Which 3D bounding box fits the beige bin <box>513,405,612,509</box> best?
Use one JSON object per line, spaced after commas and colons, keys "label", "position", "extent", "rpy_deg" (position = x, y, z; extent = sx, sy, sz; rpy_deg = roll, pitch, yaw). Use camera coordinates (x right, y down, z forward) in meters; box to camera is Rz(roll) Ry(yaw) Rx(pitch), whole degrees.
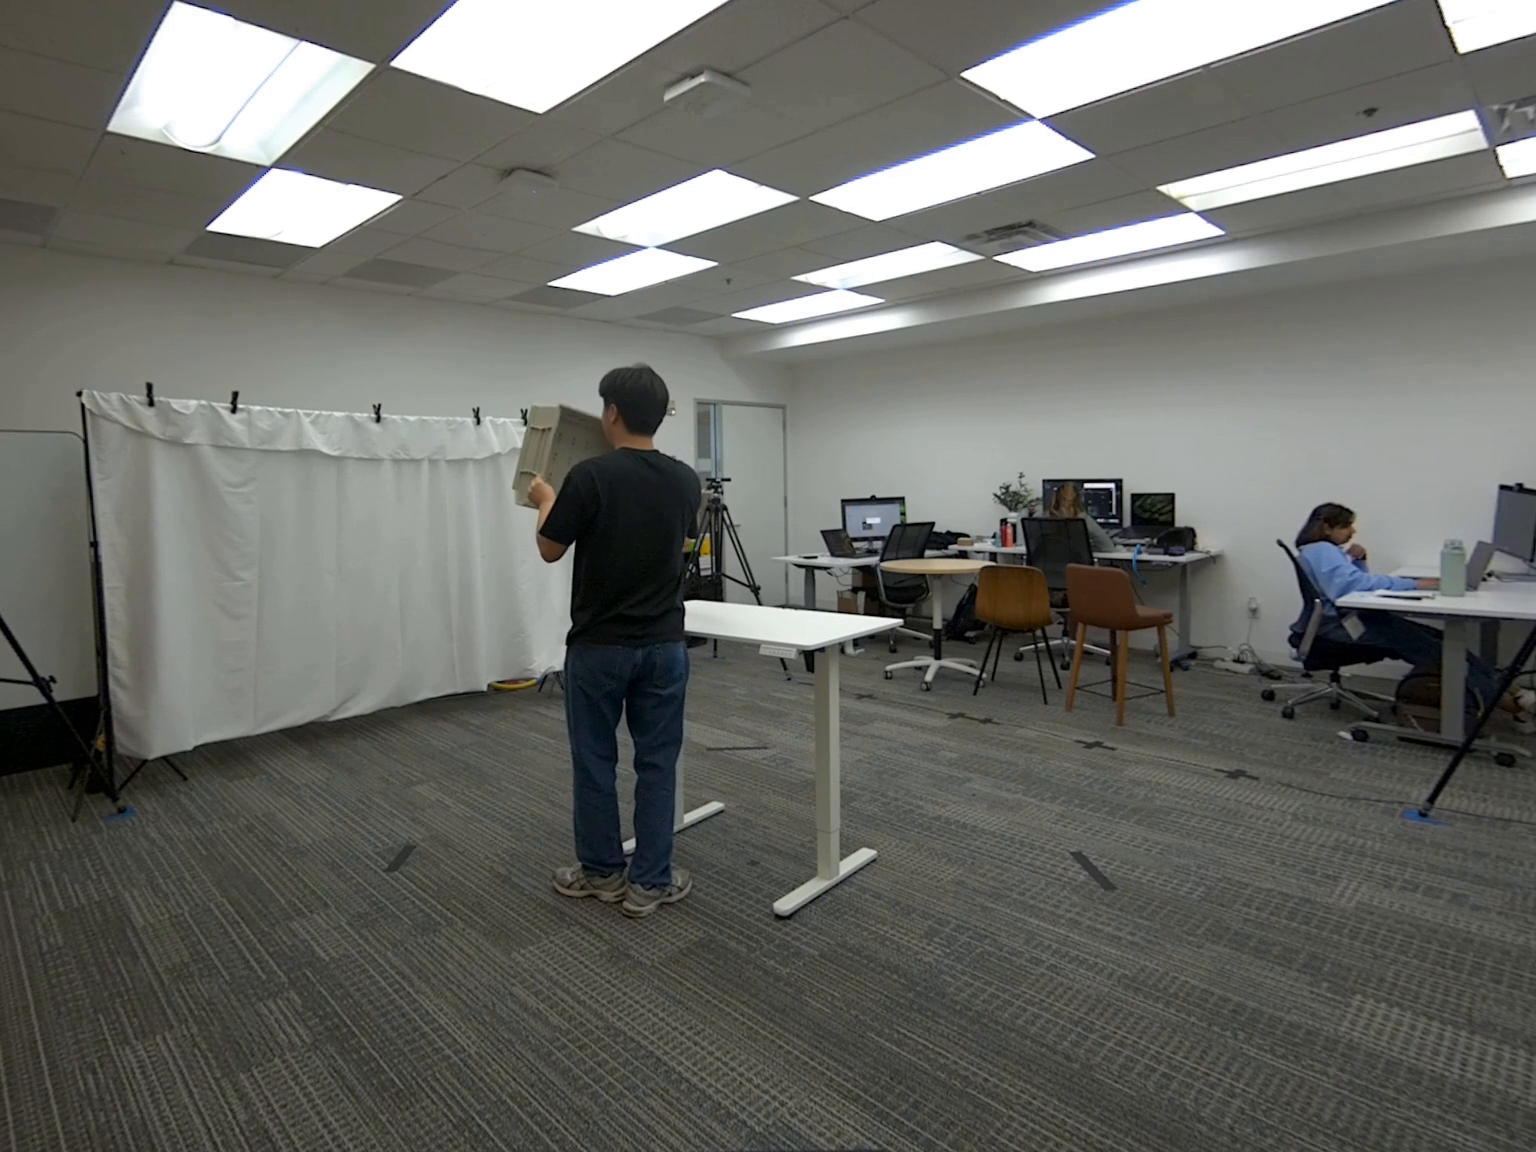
{"label": "beige bin", "position": [-0.690, -0.402, 3.151], "extent": [0.195, 0.378, 0.408], "rpy_deg": [11, -1, 42]}
